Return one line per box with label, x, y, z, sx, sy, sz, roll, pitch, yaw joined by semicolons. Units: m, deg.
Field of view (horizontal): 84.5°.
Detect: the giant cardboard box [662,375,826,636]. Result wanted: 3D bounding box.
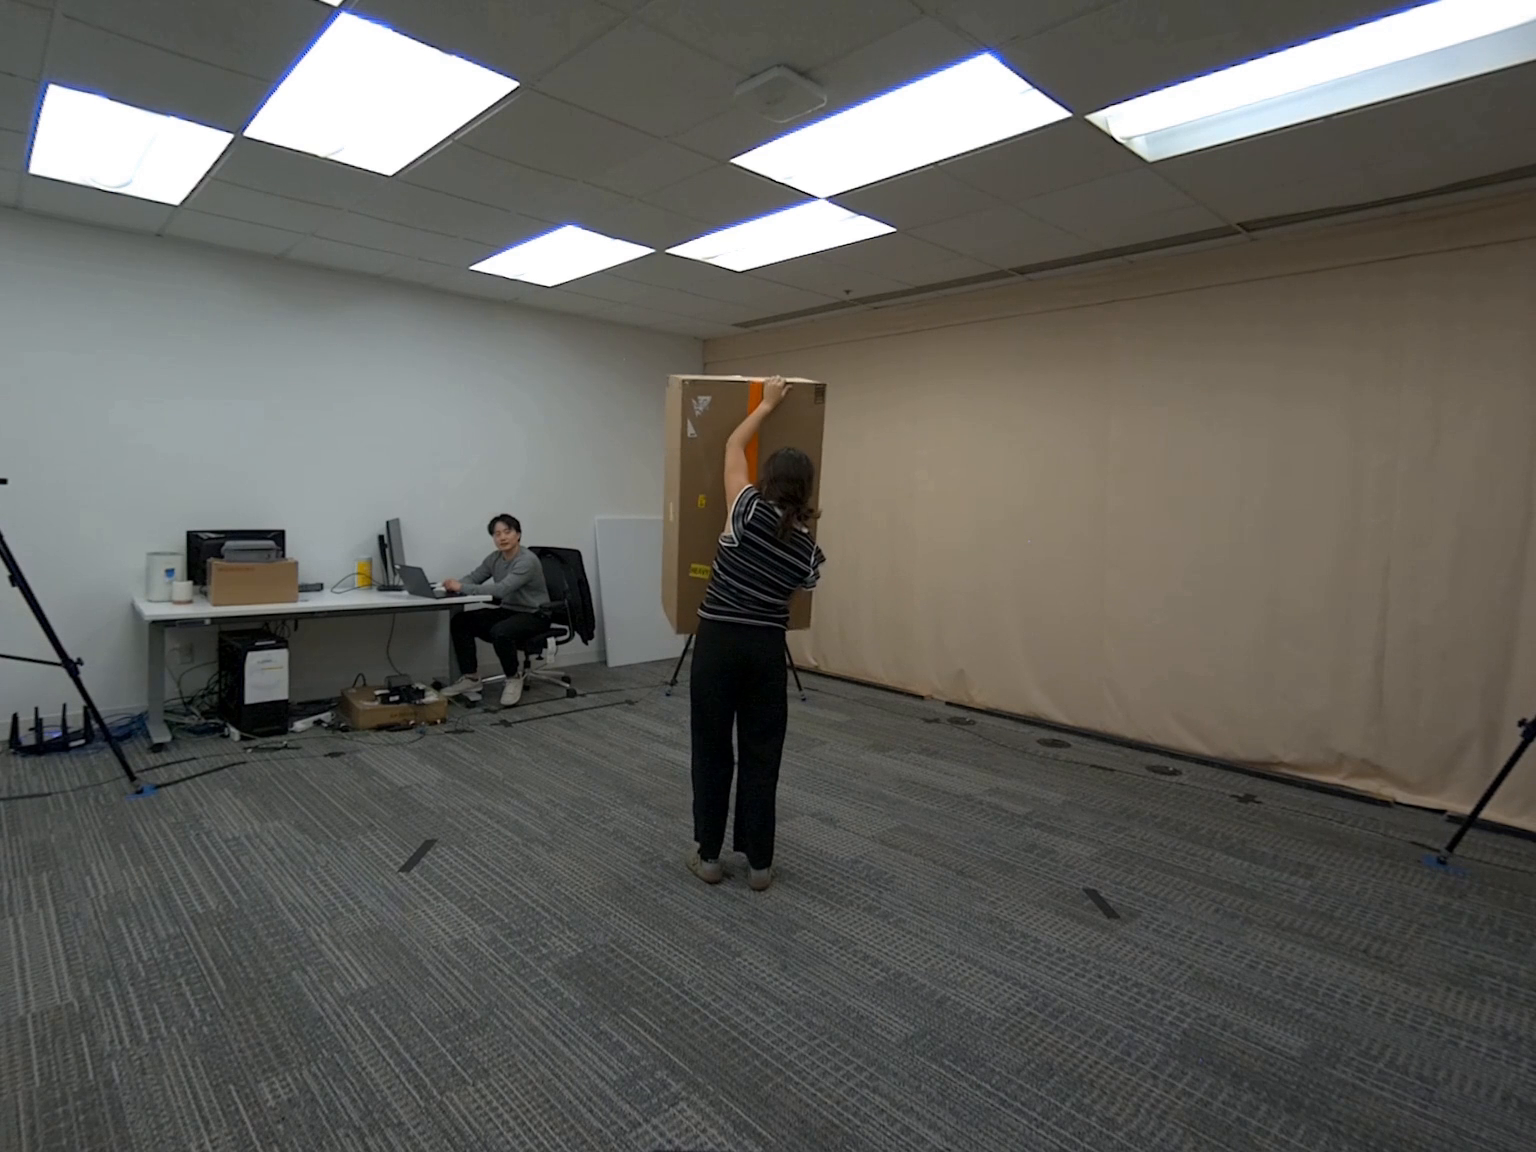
giant cardboard box;-0.130;-0.313;3.542;0.572;1.016;0.434;-1;14;-13
